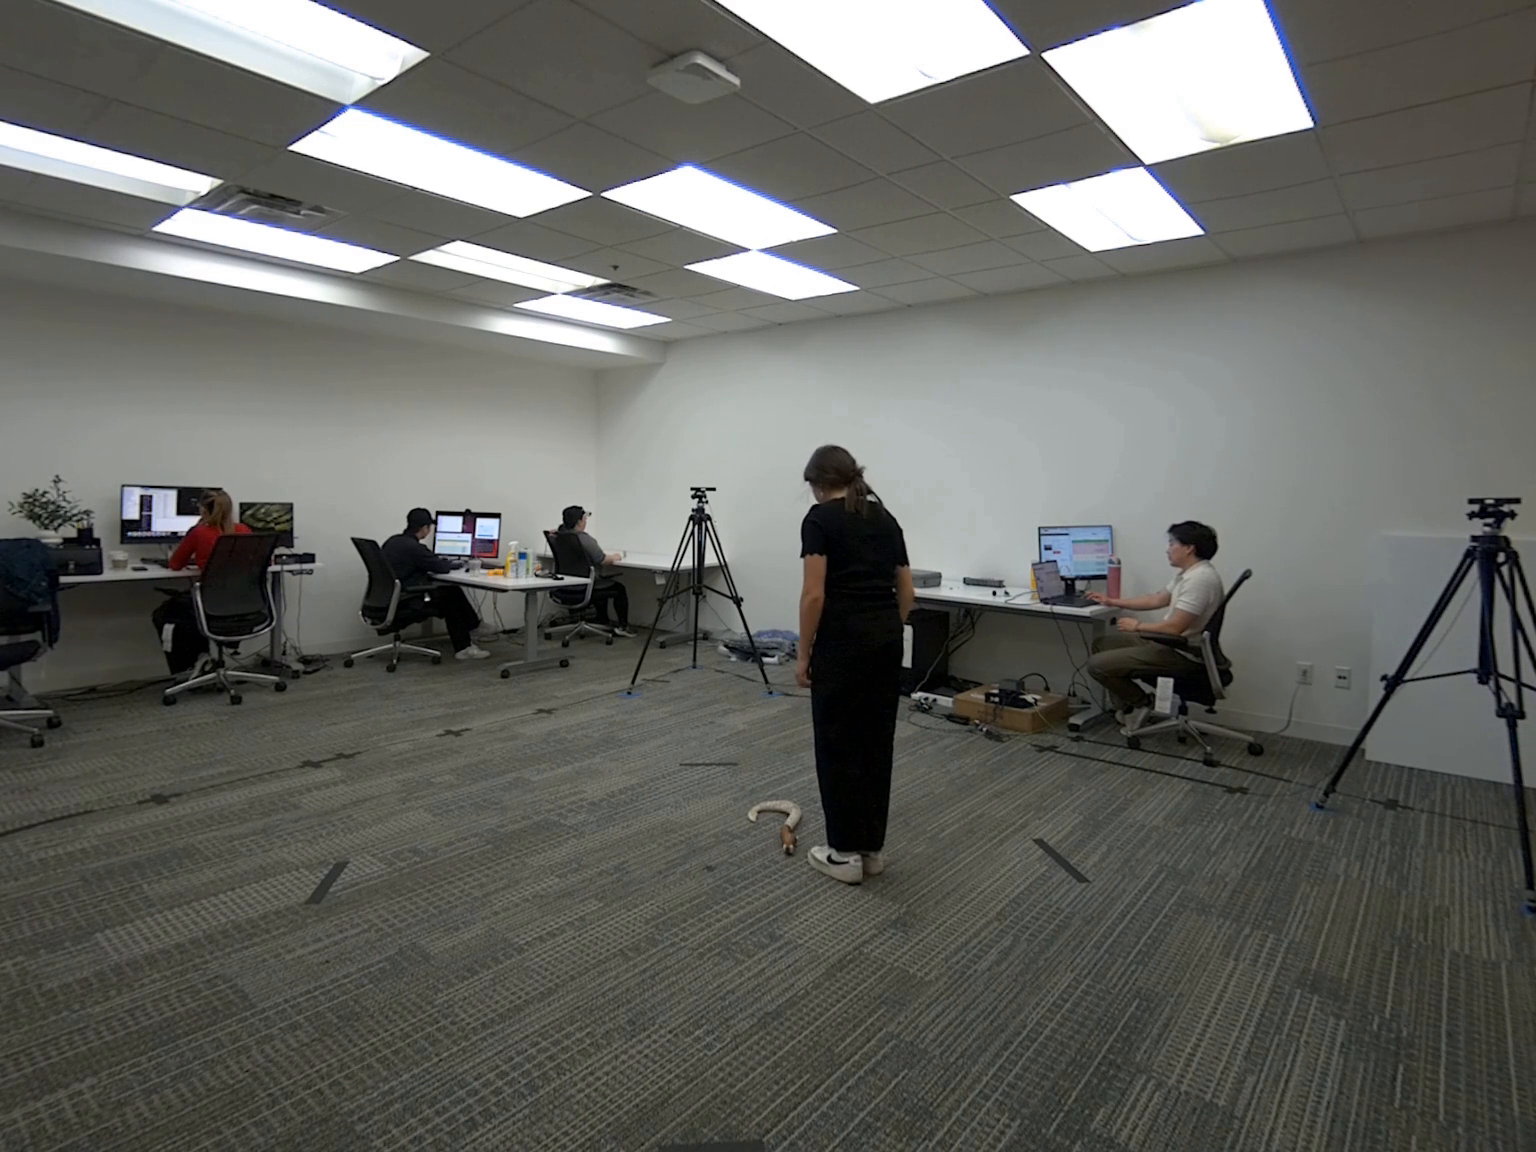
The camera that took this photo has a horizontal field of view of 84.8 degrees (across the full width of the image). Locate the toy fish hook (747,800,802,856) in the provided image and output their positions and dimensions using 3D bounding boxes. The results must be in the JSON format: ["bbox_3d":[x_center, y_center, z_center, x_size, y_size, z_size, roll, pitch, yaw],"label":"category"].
[{"bbox_3d":[0.019,1.016,3.472,0.225,0.048,0.507,-6,5,1],"label":"toy fish hook"}]
